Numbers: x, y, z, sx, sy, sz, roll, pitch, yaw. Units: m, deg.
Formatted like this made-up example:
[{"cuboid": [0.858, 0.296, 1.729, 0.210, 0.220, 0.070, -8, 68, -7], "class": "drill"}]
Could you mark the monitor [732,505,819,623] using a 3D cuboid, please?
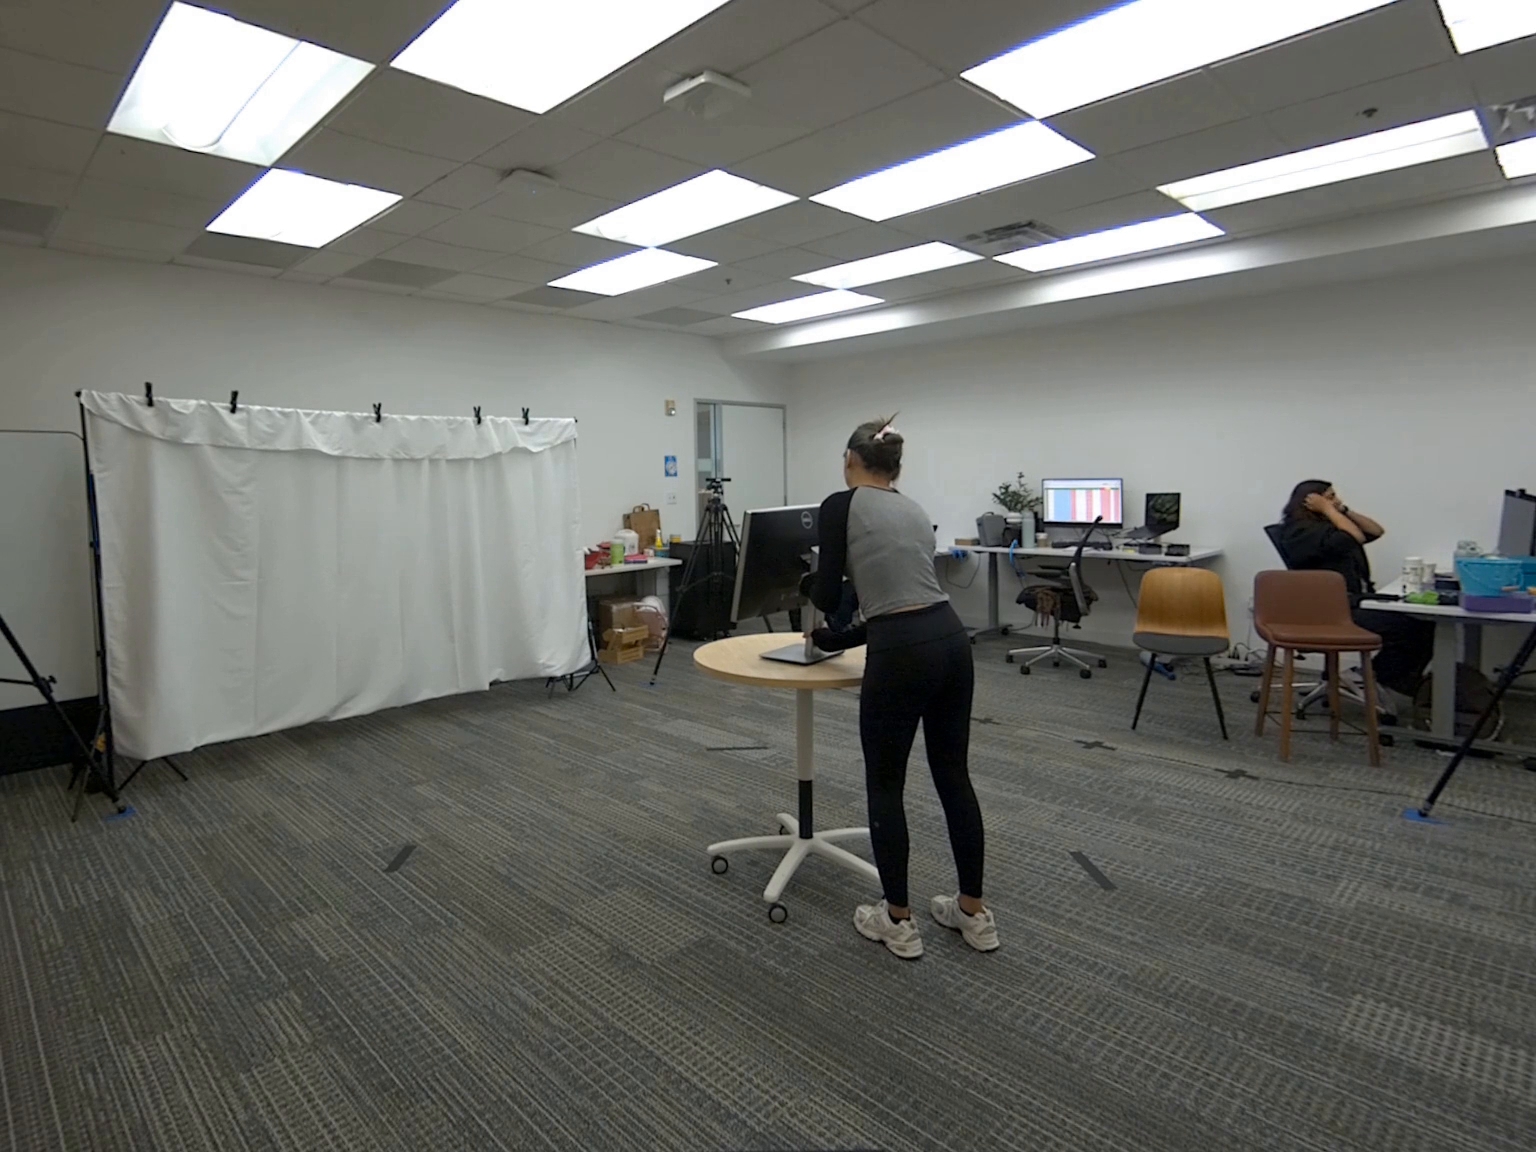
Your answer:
[{"cuboid": [0.119, 0.025, 2.876, 0.192, 0.520, 0.526, 1, 6, 38], "class": "monitor"}]
